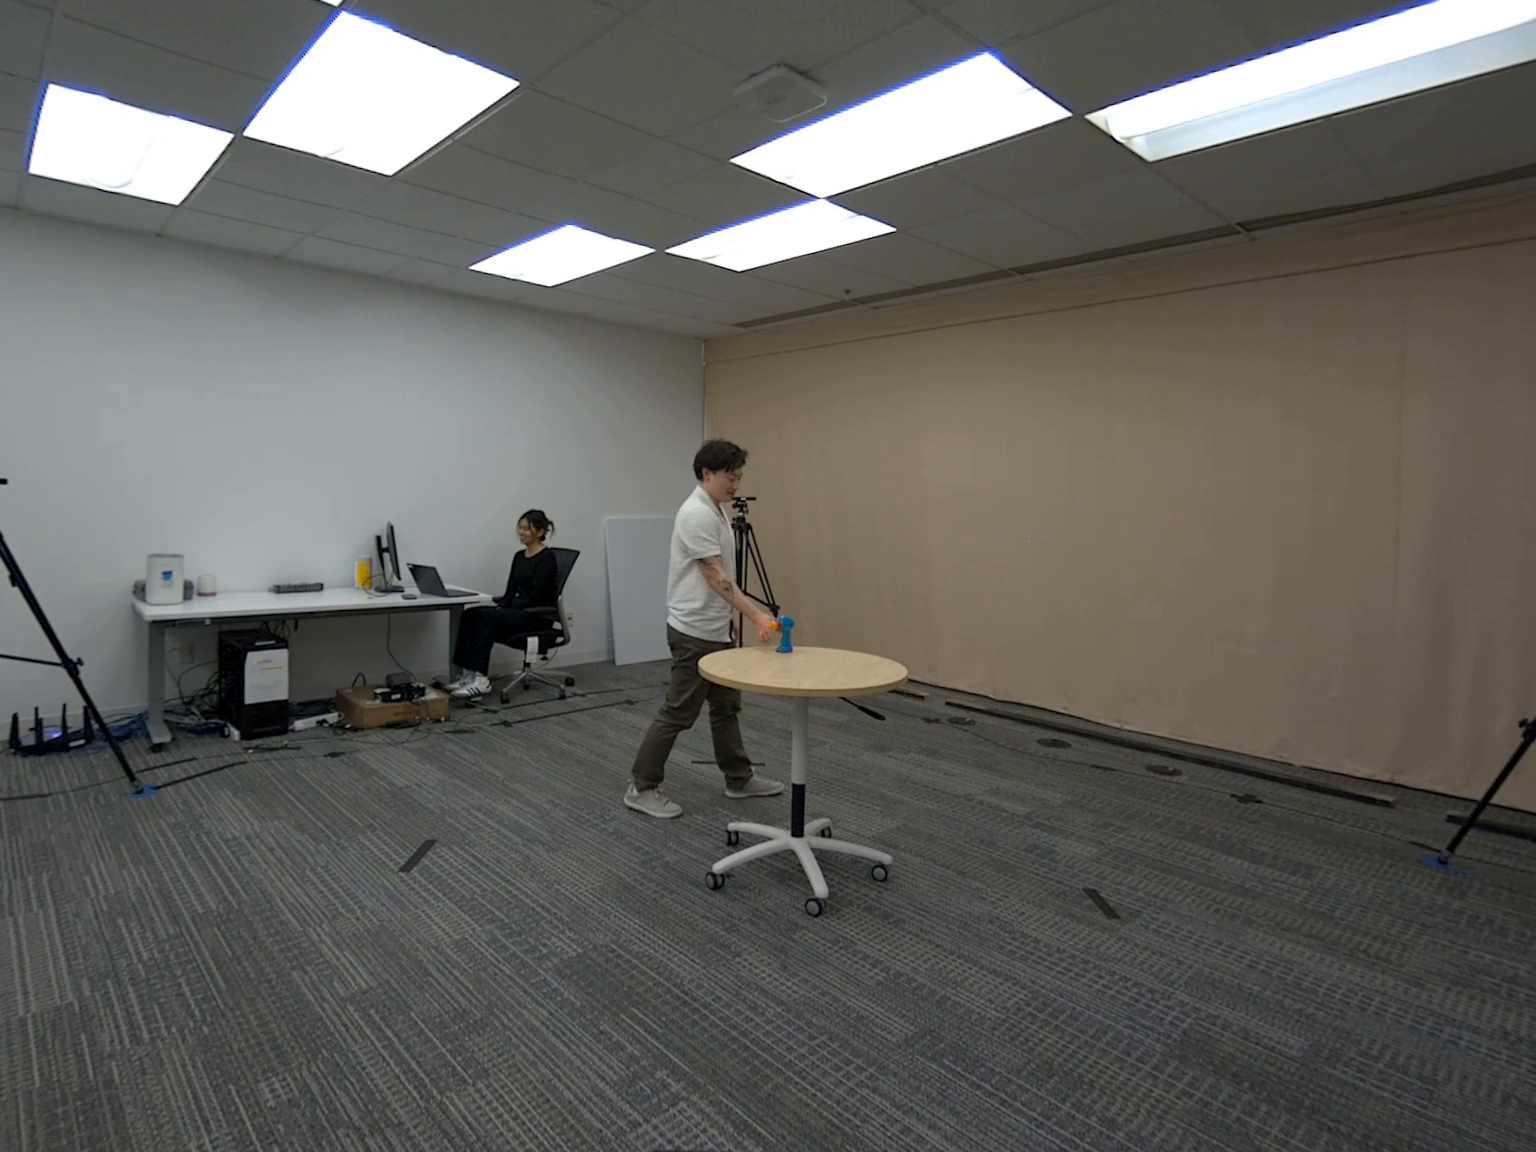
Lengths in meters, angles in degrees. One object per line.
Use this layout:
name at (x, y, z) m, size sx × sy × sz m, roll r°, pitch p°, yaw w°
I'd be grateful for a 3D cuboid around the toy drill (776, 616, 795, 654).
toy drill at (0.039, 0.234, 3.329) m, size 0.063 × 0.145 × 0.166 m, roll 4°, pitch 5°, yaw 38°
